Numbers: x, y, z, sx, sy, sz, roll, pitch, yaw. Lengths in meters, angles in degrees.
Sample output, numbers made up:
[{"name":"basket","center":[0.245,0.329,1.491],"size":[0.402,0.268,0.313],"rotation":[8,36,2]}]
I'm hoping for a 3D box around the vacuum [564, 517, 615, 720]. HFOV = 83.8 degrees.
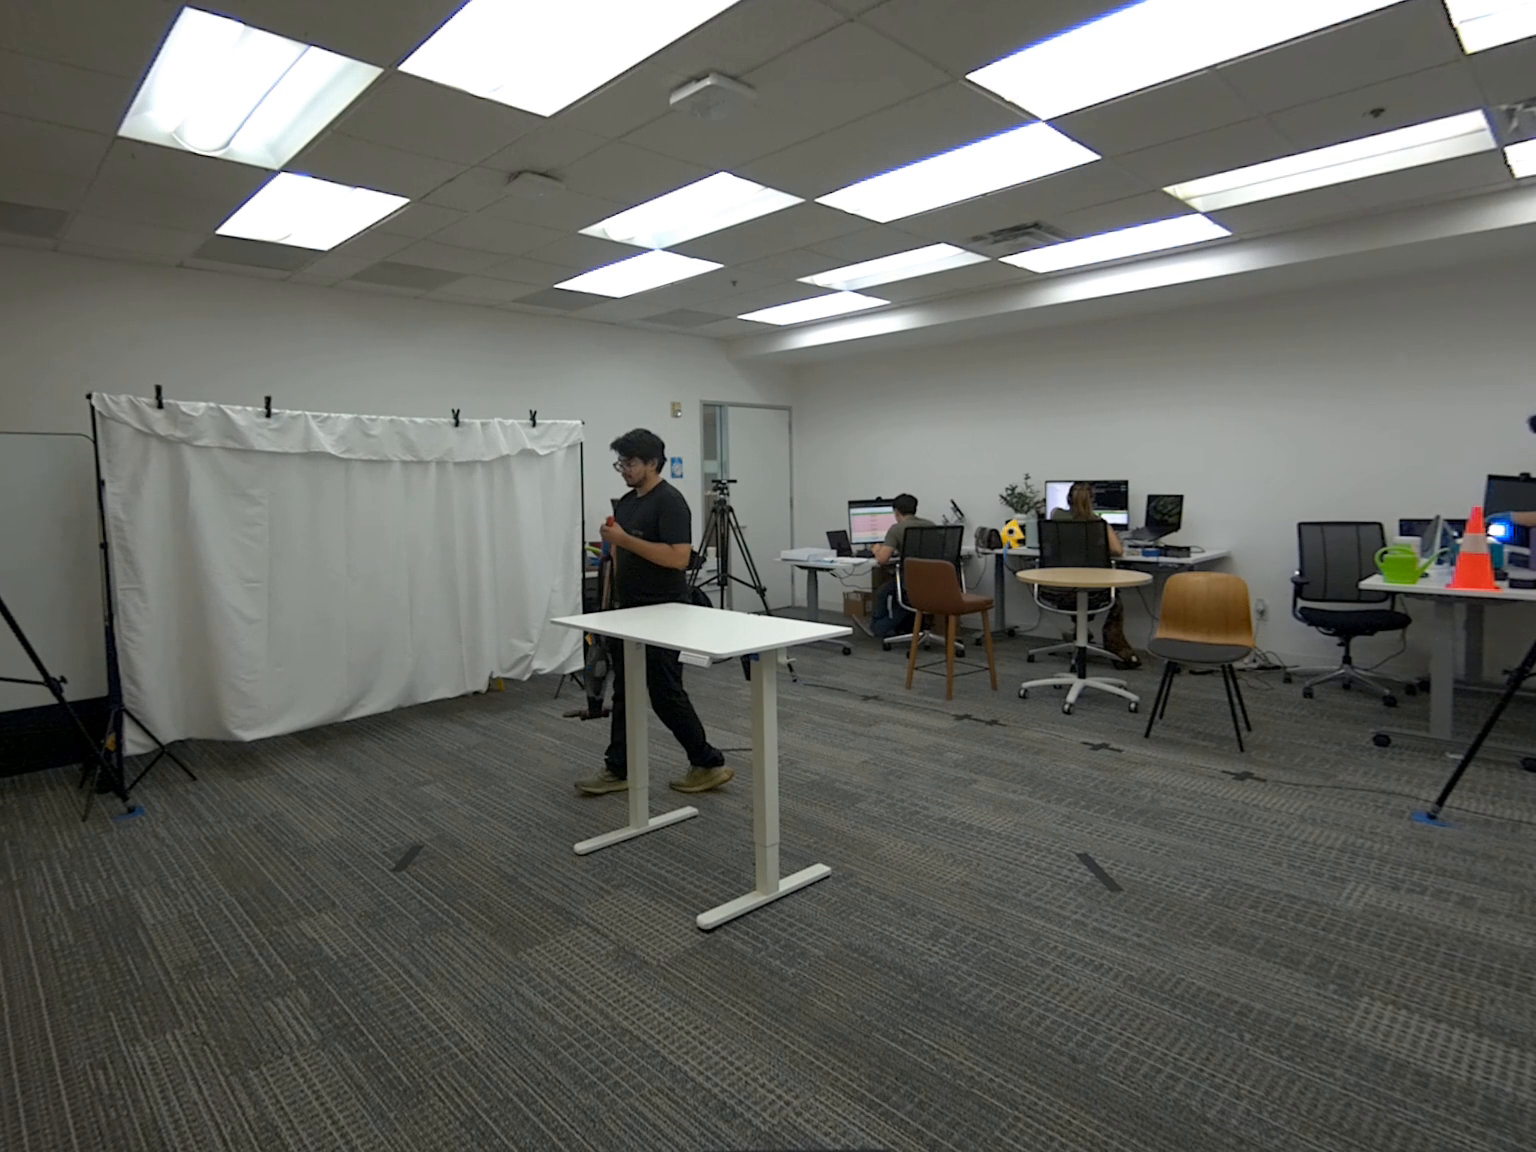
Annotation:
[{"name":"vacuum","center":[-0.760,0.207,3.798],"size":[0.247,1.030,0.150],"rotation":[-7,32,-27]}]
